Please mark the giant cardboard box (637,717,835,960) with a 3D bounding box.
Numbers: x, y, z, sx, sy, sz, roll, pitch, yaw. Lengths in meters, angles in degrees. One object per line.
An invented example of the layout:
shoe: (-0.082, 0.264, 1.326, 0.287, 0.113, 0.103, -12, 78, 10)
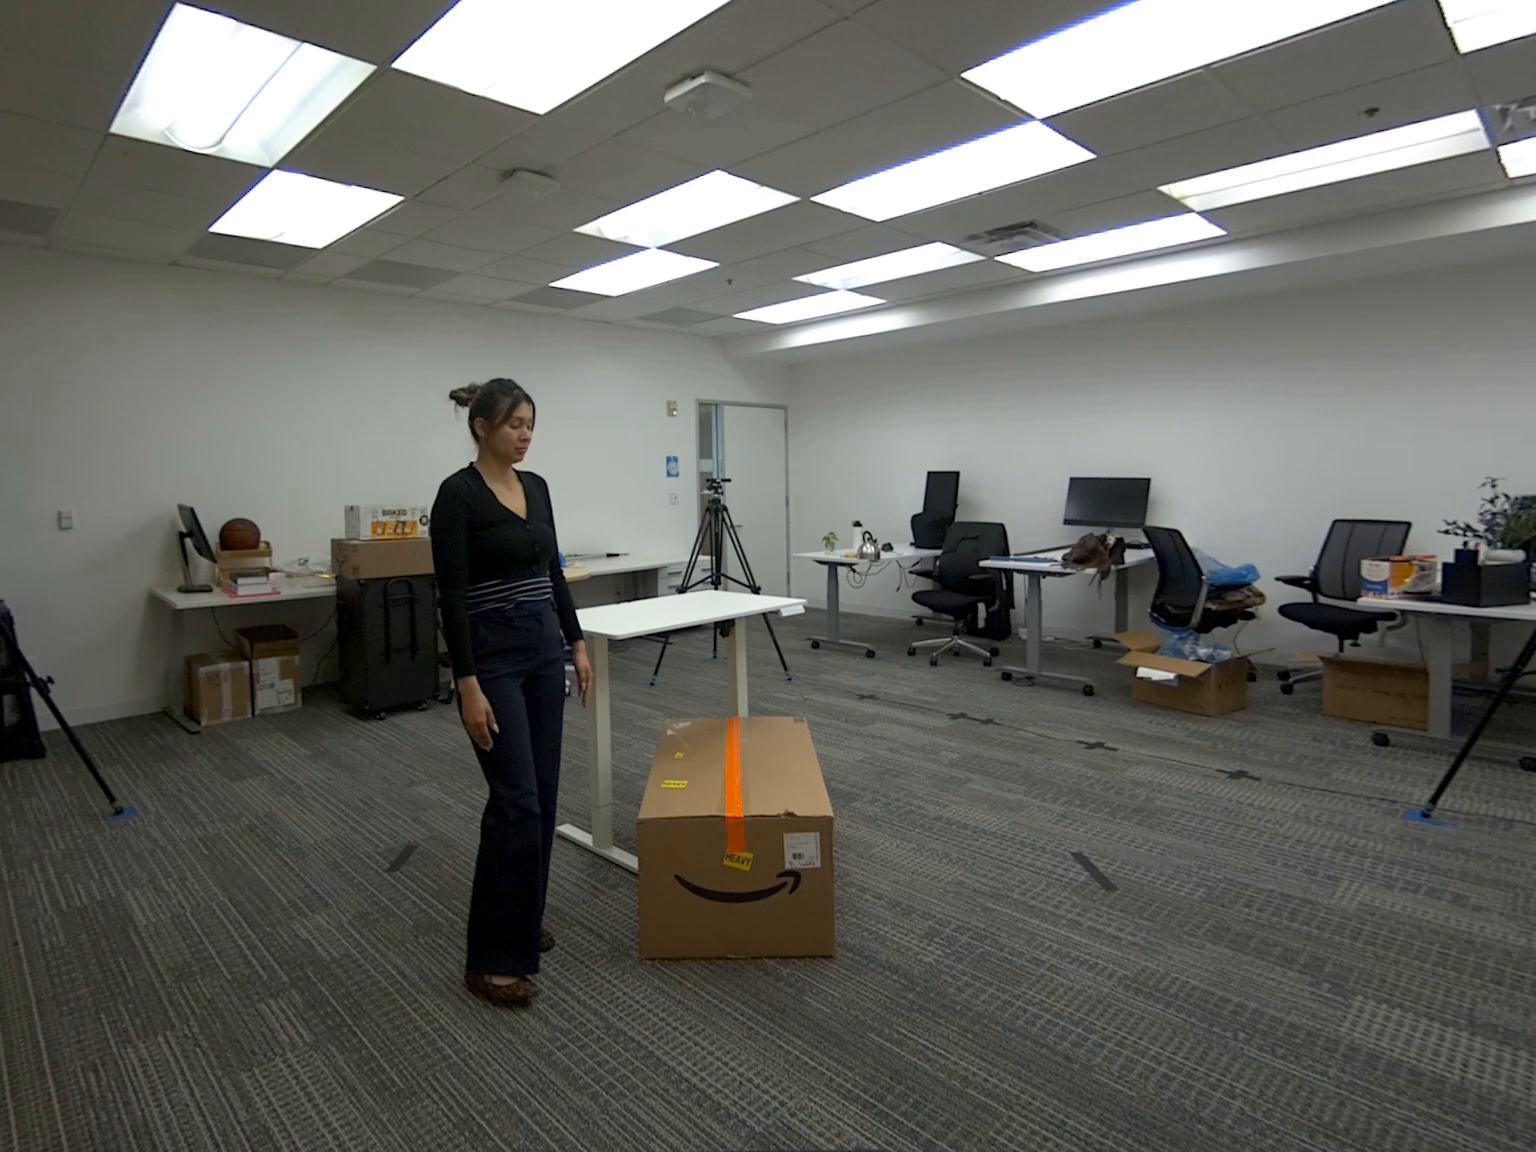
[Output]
giant cardboard box: (-0.107, 0.844, 2.987, 0.577, 0.424, 1.031, -2, 6, -2)
